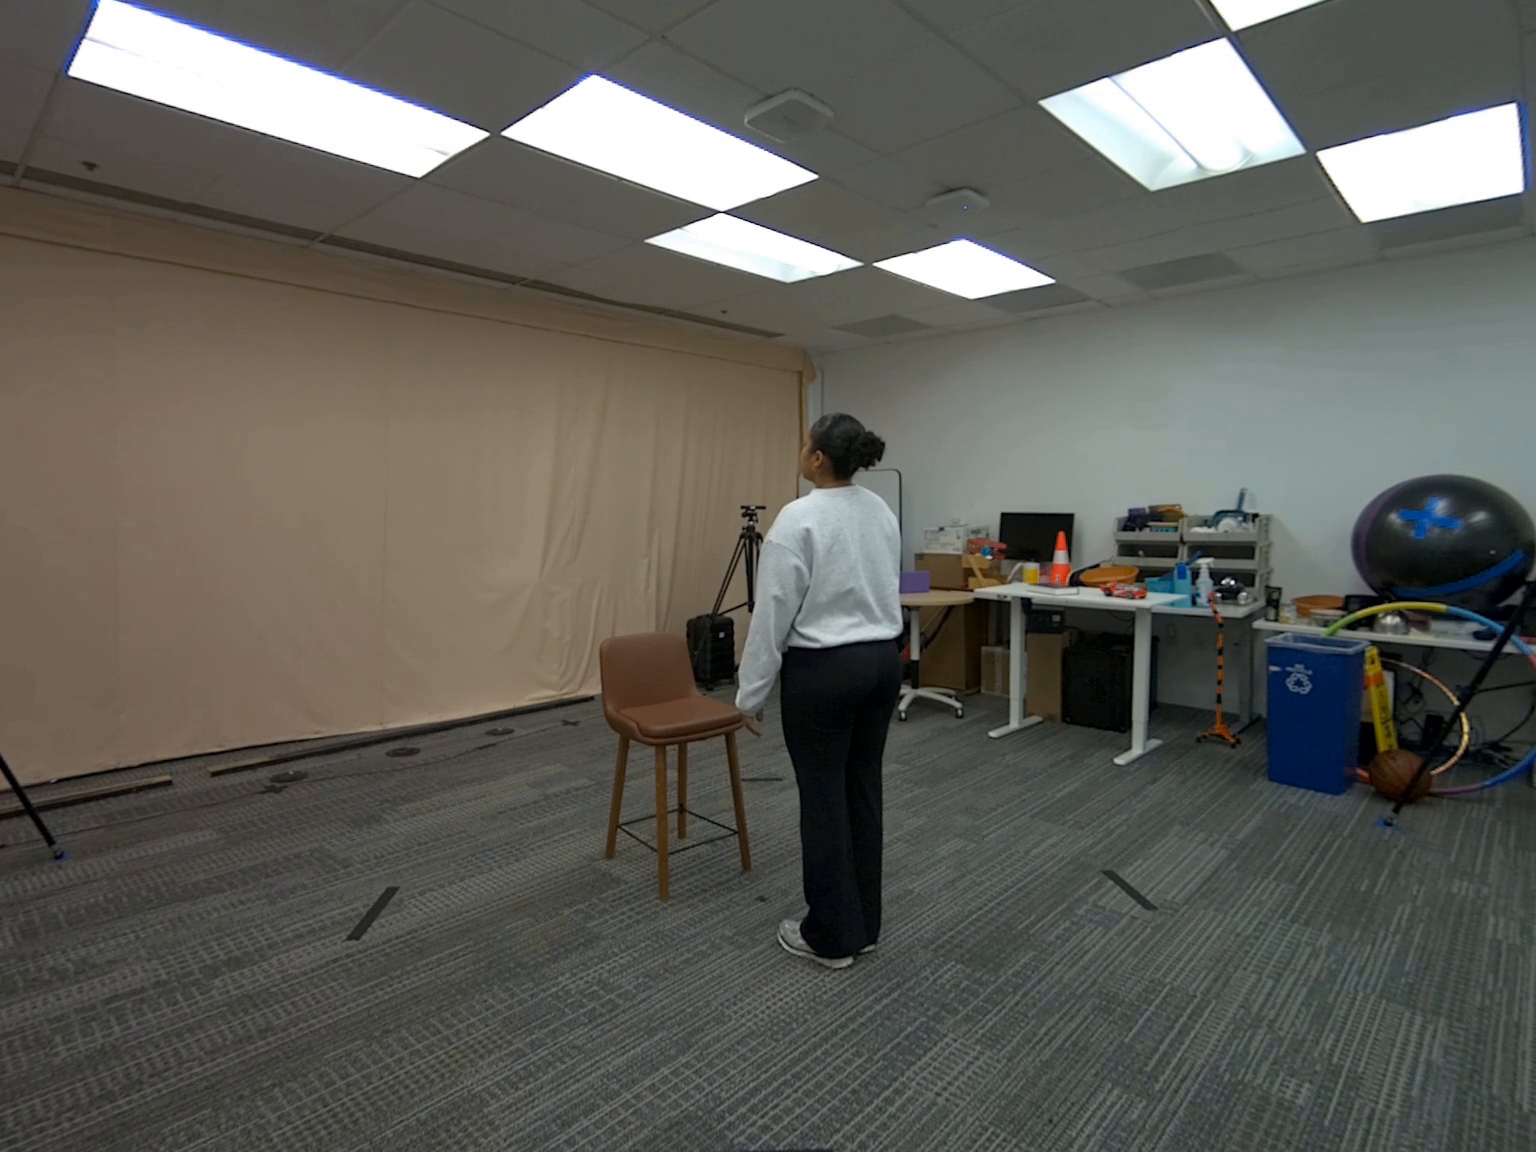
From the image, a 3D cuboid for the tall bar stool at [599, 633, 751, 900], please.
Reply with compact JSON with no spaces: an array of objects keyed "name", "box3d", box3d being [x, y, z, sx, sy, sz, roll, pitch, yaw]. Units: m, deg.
[{"name":"tall bar stool","box3d":[-0.370,0.688,3.256,0.443,0.889,0.482,-3,2,-38]}]
